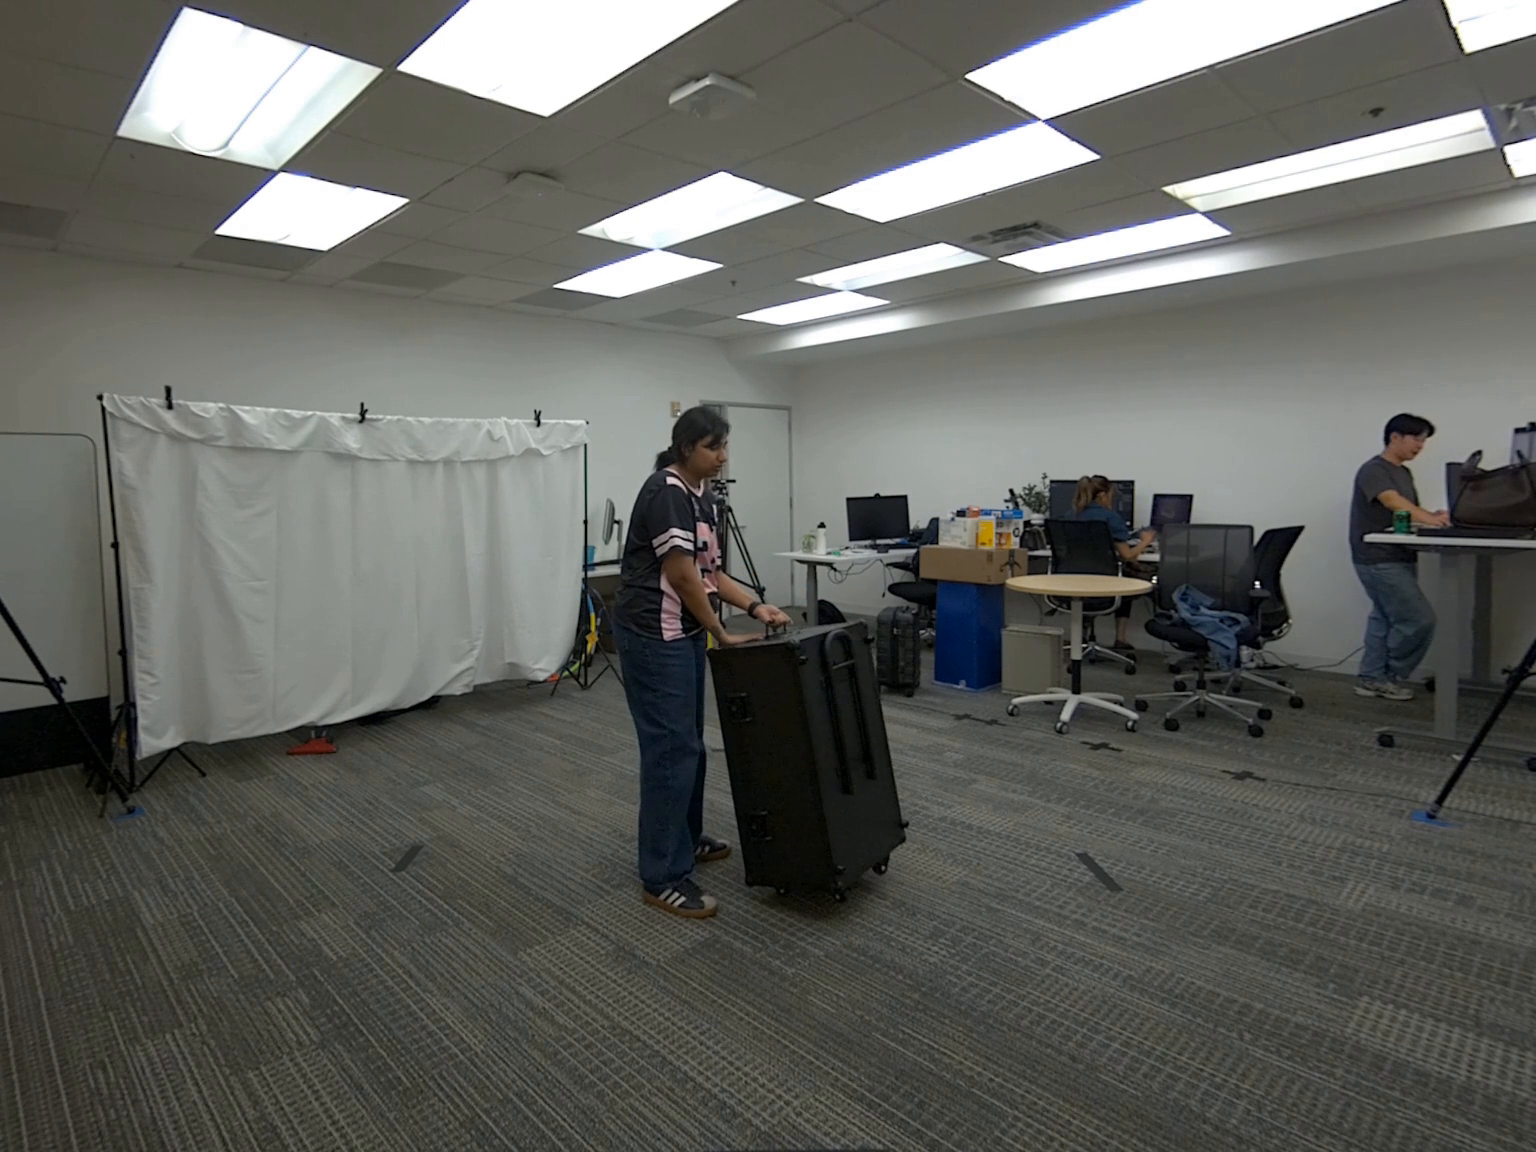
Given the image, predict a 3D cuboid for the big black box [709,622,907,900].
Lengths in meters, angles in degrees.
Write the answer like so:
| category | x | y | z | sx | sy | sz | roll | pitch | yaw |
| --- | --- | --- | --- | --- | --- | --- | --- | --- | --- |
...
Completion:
| category | x | y | z | sx | sy | sz | roll | pitch | yaw |
| --- | --- | --- | --- | --- | --- | --- | --- | --- | --- |
| big black box | 0.154 | 0.623 | 2.929 | 0.393 | 0.871 | 0.511 | -11 | -3 | 35 |
